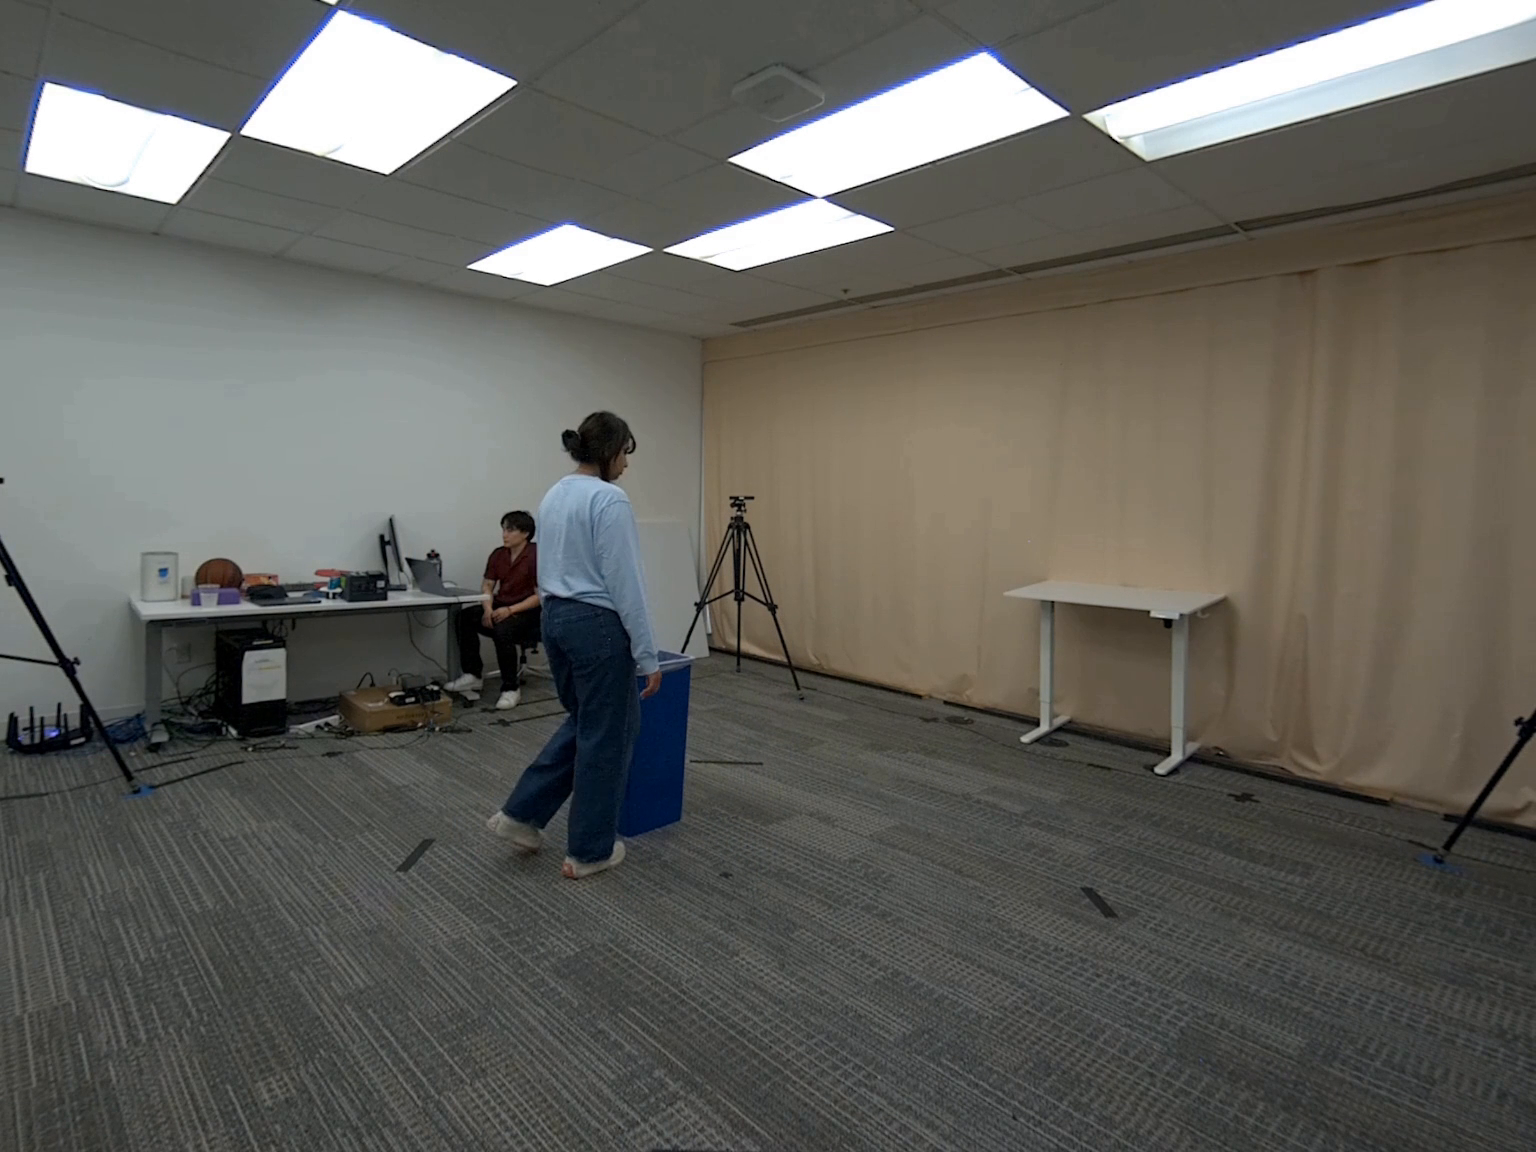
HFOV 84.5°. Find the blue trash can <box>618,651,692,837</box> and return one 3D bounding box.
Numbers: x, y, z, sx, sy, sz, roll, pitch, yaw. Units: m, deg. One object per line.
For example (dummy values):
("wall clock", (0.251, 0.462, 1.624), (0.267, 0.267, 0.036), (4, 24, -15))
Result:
("blue trash can", (-0.577, 0.695, 3.605), (0.388, 0.712, 0.365), (6, 5, 42))
